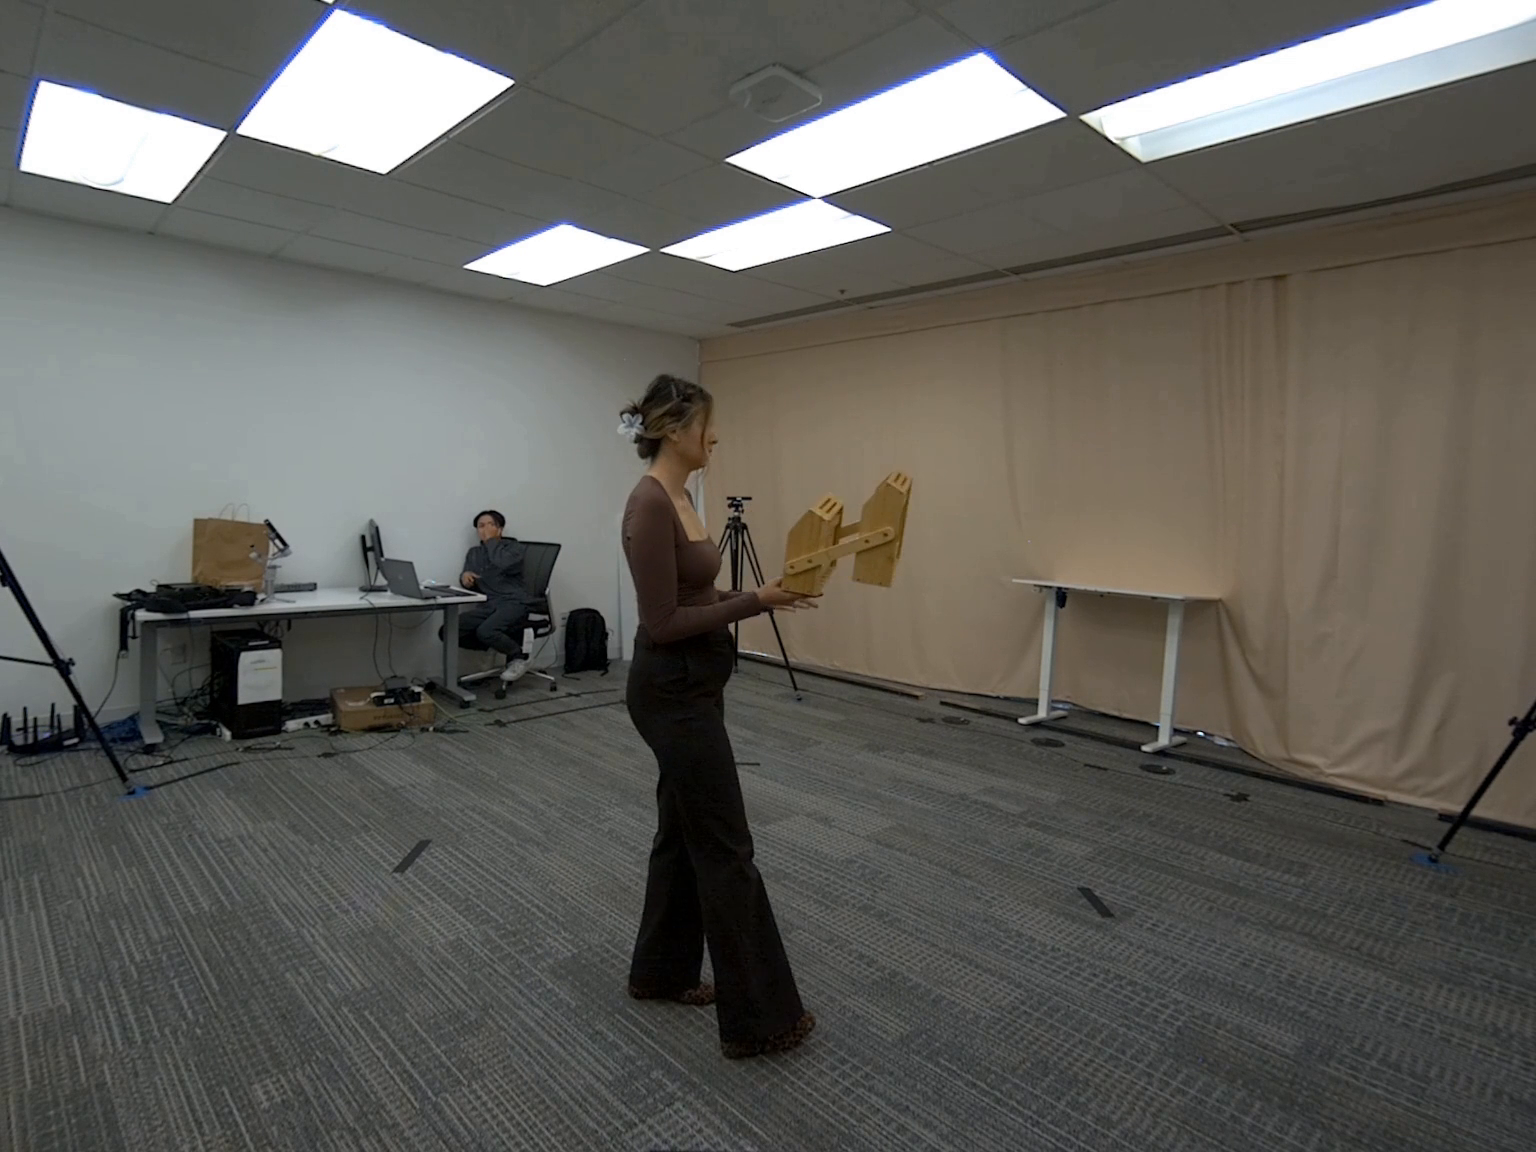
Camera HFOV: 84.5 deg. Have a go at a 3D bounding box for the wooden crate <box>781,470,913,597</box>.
[{"bbox_3d":[0.201,-0.126,2.126,0.276,0.299,0.323,8,13,11],"label":"wooden crate"}]
